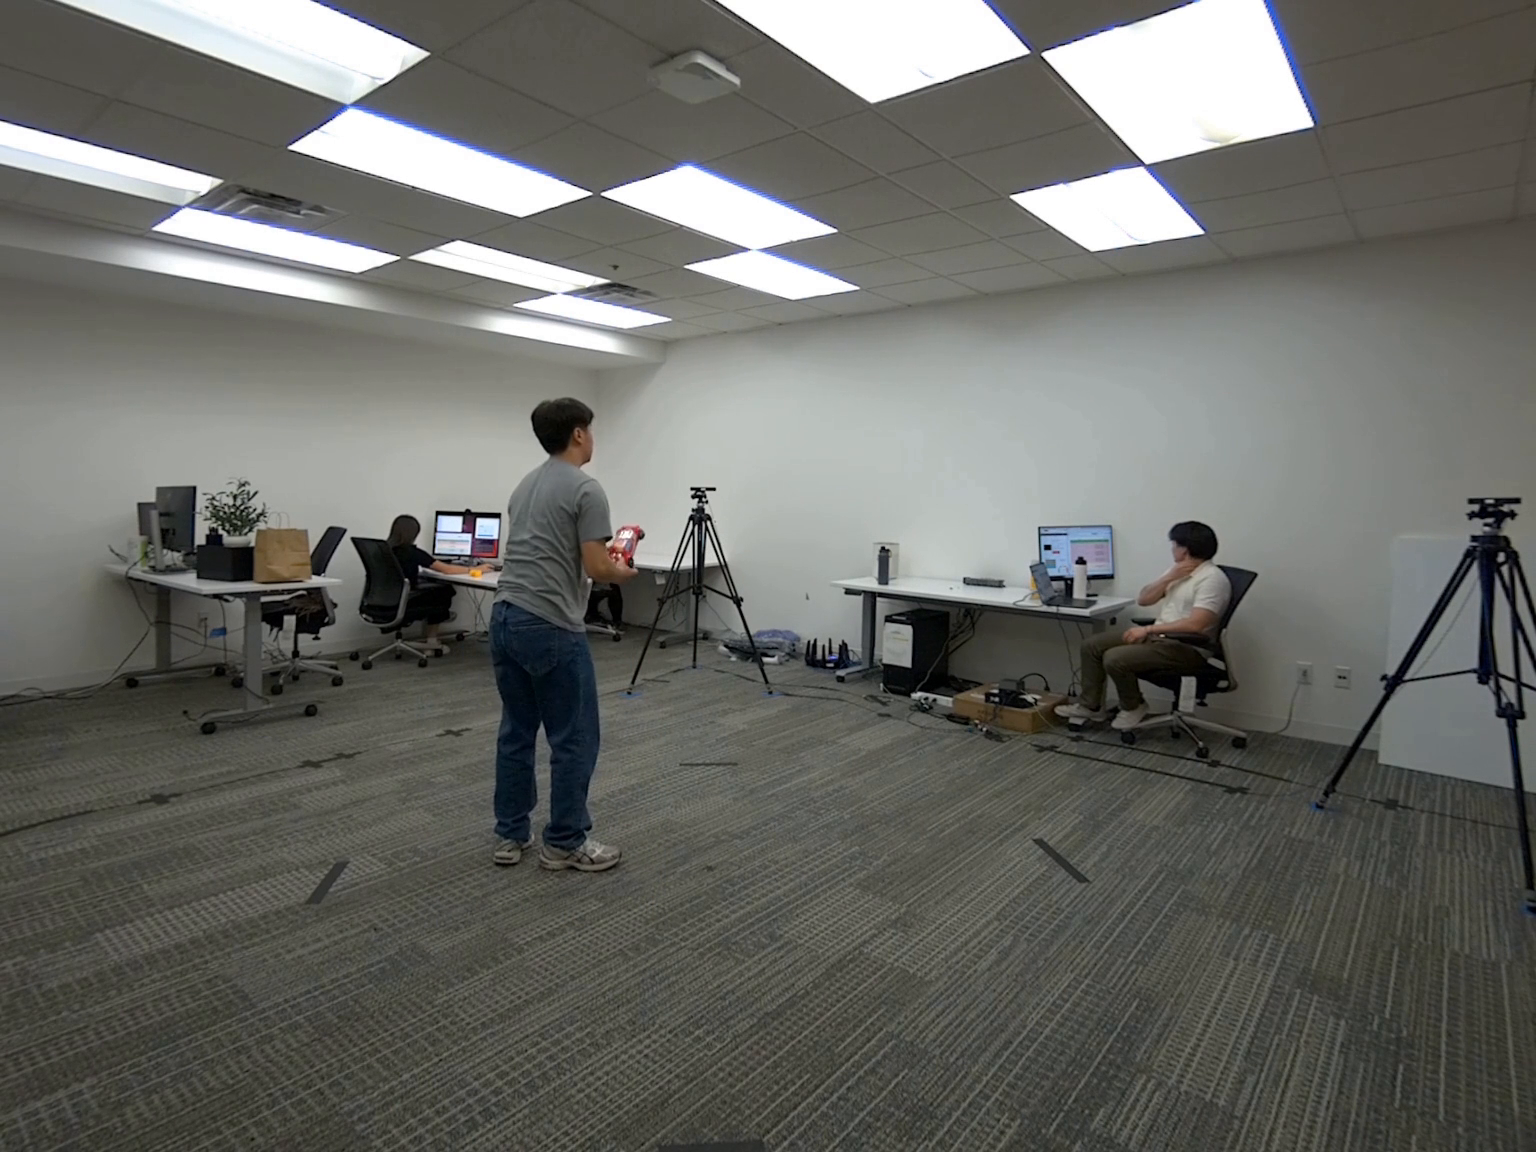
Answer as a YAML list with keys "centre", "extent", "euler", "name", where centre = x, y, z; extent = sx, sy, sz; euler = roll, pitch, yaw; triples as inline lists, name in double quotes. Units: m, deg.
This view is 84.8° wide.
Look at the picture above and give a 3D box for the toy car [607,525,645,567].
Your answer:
- centre: [-0.617, -0.085, 3.470]
  extent: [0.133, 0.080, 0.258]
  euler: [0, 44, 21]
  name: "toy car"
